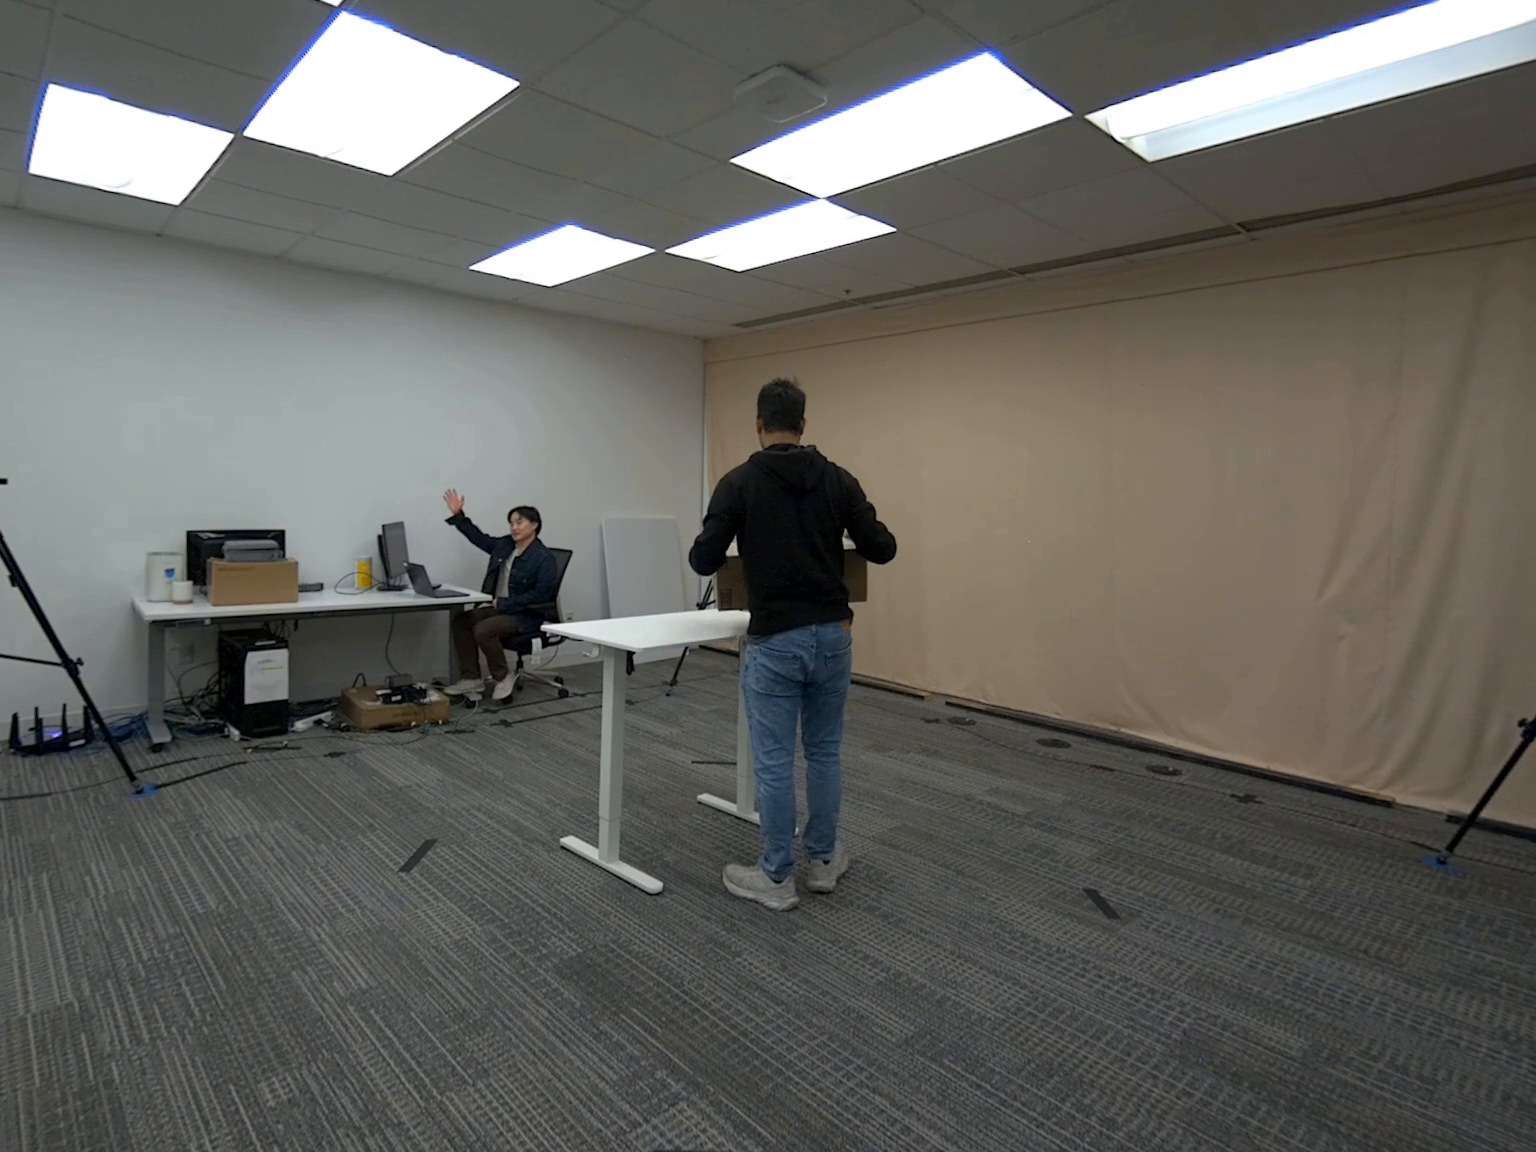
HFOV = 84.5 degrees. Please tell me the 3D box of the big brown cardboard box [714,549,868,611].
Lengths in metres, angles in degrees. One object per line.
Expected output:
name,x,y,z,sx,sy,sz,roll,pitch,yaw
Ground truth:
big brown cardboard box,0.067,-0.039,3.305,0.588,0.230,0.423,-4,16,-3
